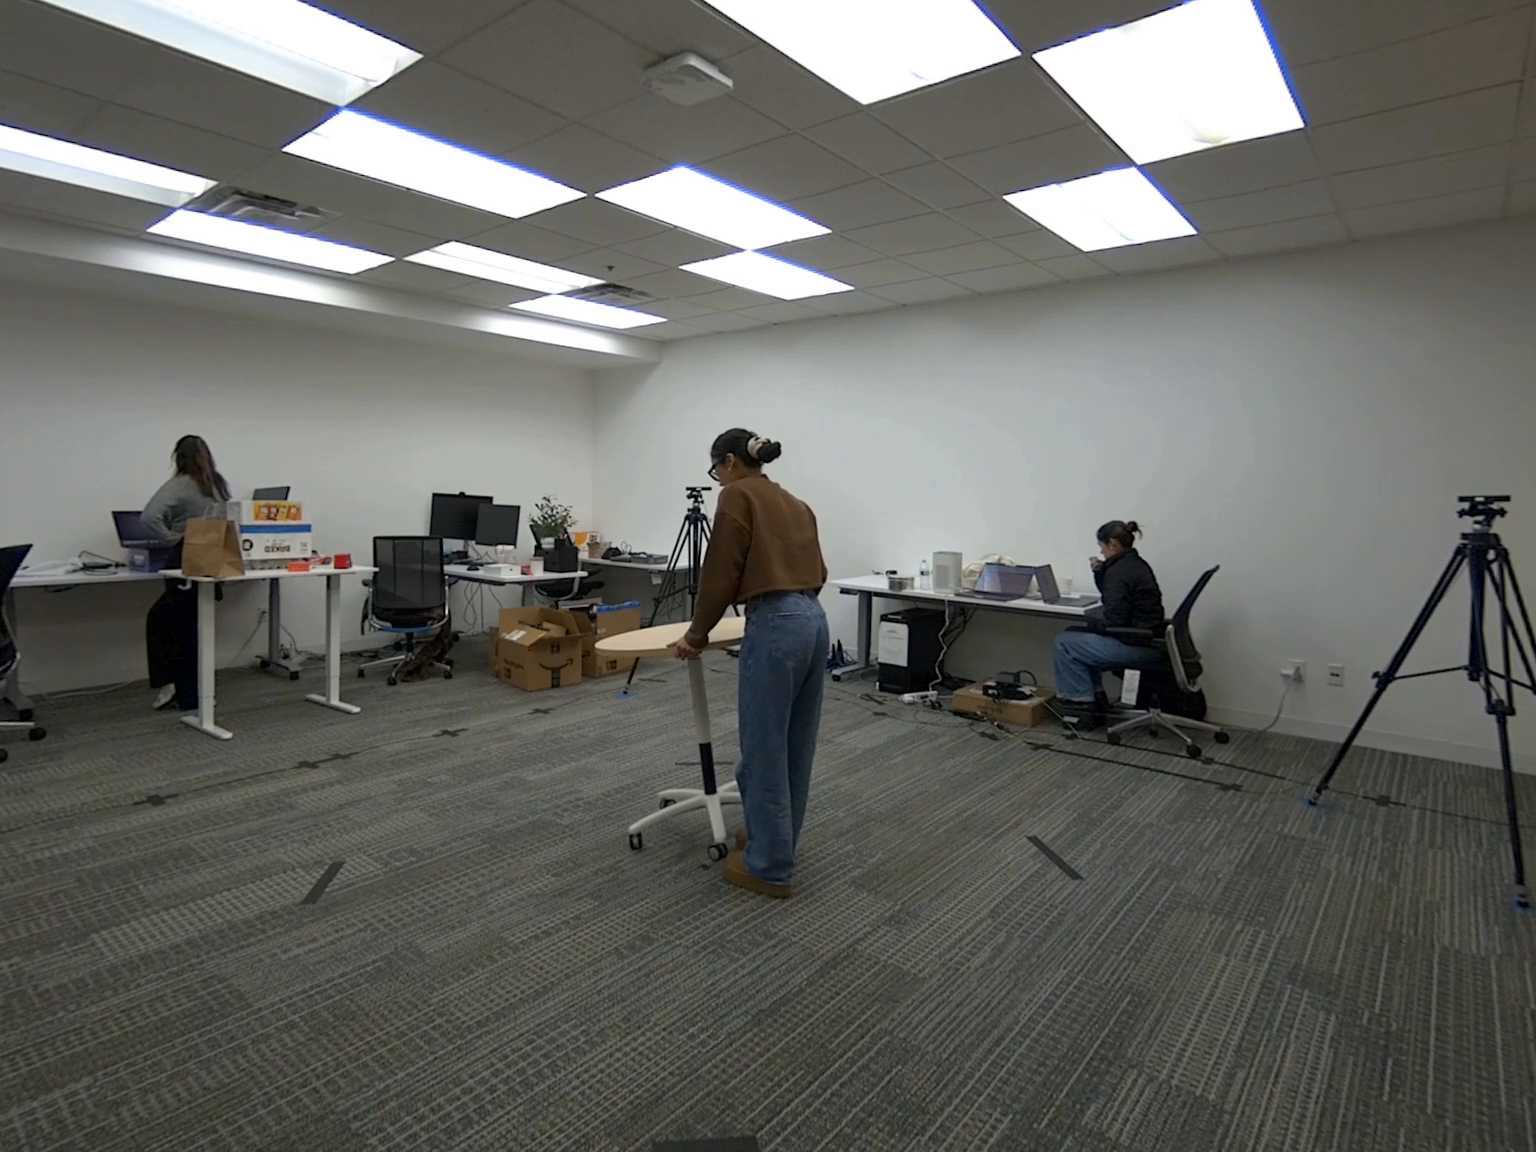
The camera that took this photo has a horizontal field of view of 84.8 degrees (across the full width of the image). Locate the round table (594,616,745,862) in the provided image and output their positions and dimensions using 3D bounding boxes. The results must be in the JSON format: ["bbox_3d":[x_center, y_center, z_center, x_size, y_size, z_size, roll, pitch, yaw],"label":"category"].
[{"bbox_3d":[-0.269,0.613,3.383,0.763,0.793,0.766,-7,2,-2],"label":"round table"}]
